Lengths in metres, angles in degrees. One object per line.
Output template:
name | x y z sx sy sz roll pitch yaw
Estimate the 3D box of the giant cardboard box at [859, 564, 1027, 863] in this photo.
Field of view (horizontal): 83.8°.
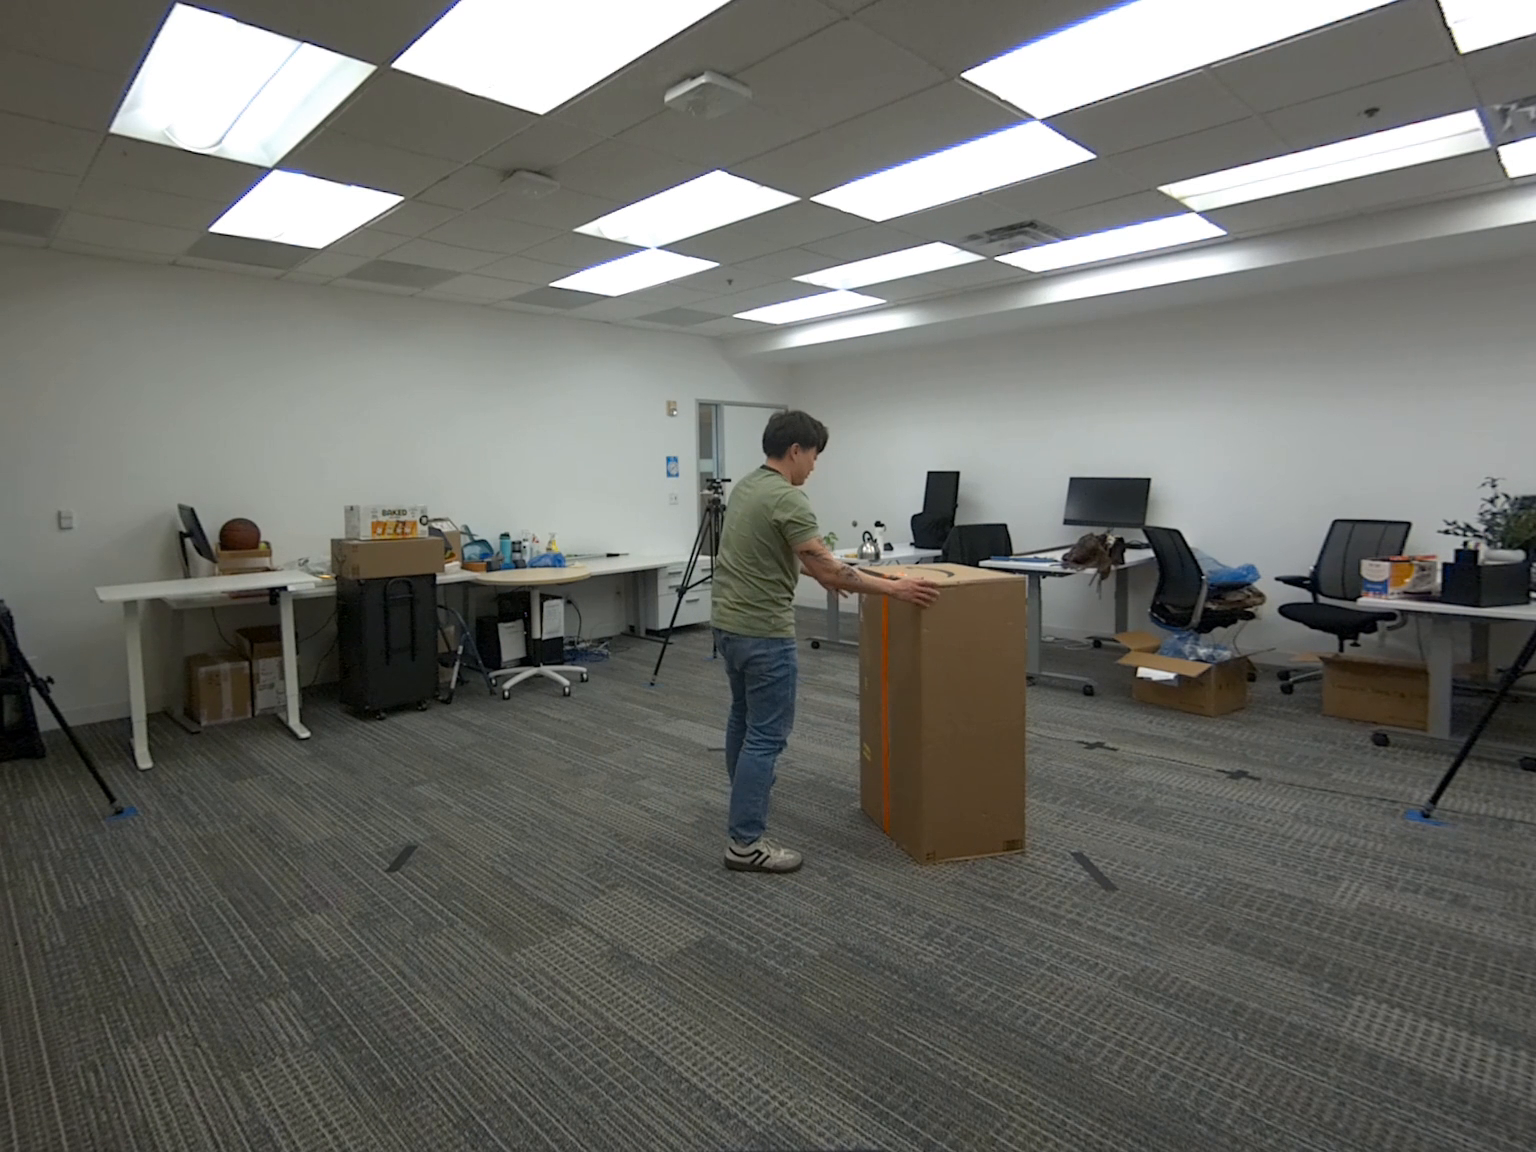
giant cardboard box | 0.663 0.495 3.347 0.420 1.022 0.588 -2 5 -15
